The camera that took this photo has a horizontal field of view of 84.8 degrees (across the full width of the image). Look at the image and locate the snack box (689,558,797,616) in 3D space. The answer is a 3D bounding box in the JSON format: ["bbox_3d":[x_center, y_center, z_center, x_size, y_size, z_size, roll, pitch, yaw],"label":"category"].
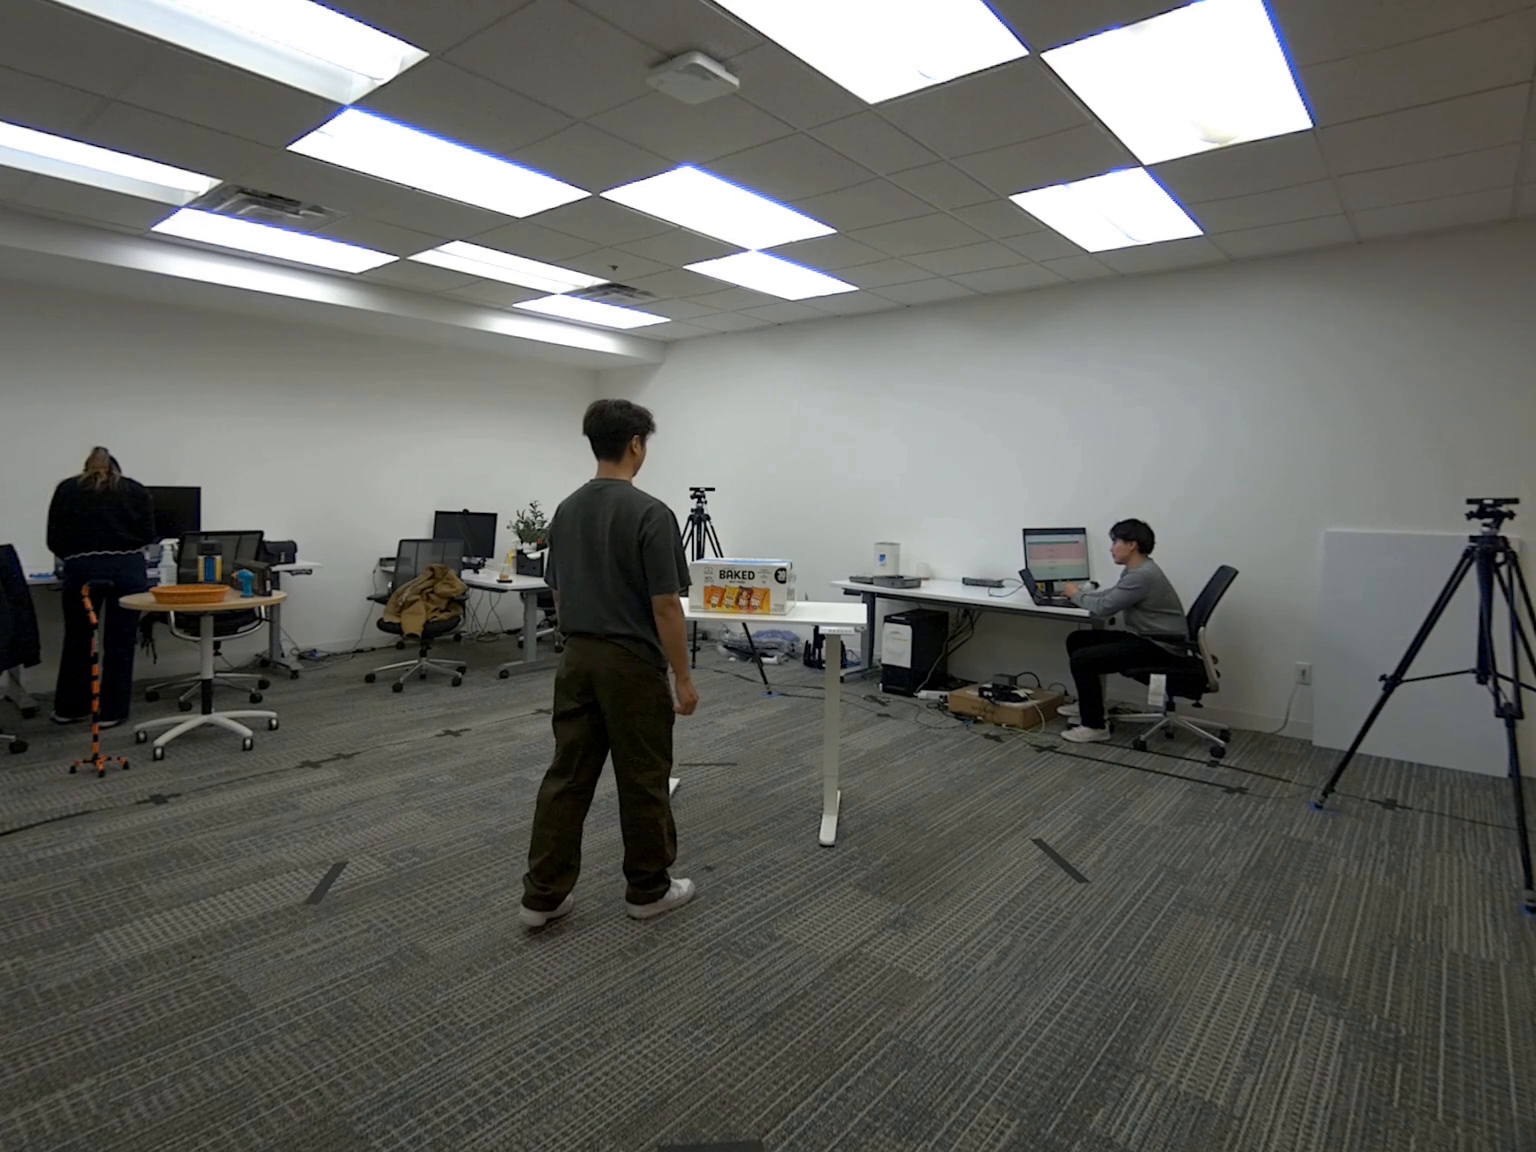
[{"bbox_3d":[-0.109,0.033,3.630,0.410,0.205,0.337,2,5,11],"label":"snack box"}]
